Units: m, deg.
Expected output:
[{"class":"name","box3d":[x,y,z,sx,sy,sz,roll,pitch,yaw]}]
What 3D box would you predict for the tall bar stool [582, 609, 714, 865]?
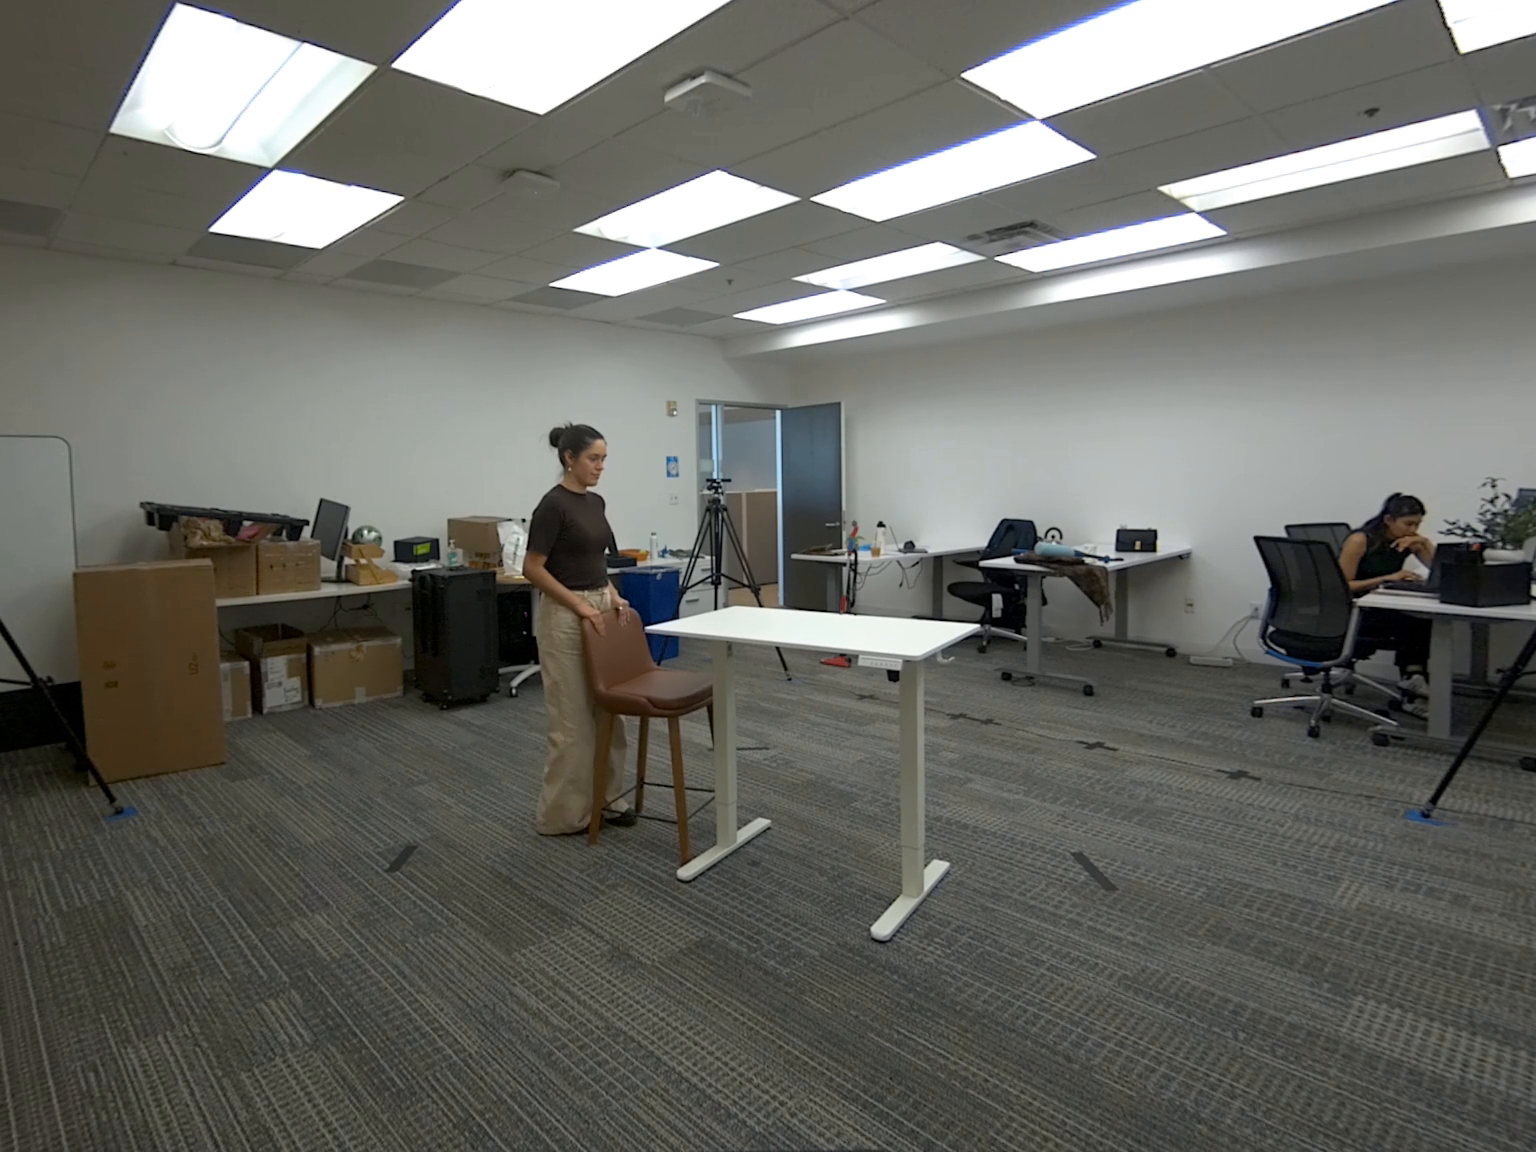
[{"class":"tall bar stool","box3d":[-0.435,0.585,3.339,0.478,0.888,0.448,-2,3,25]}]
